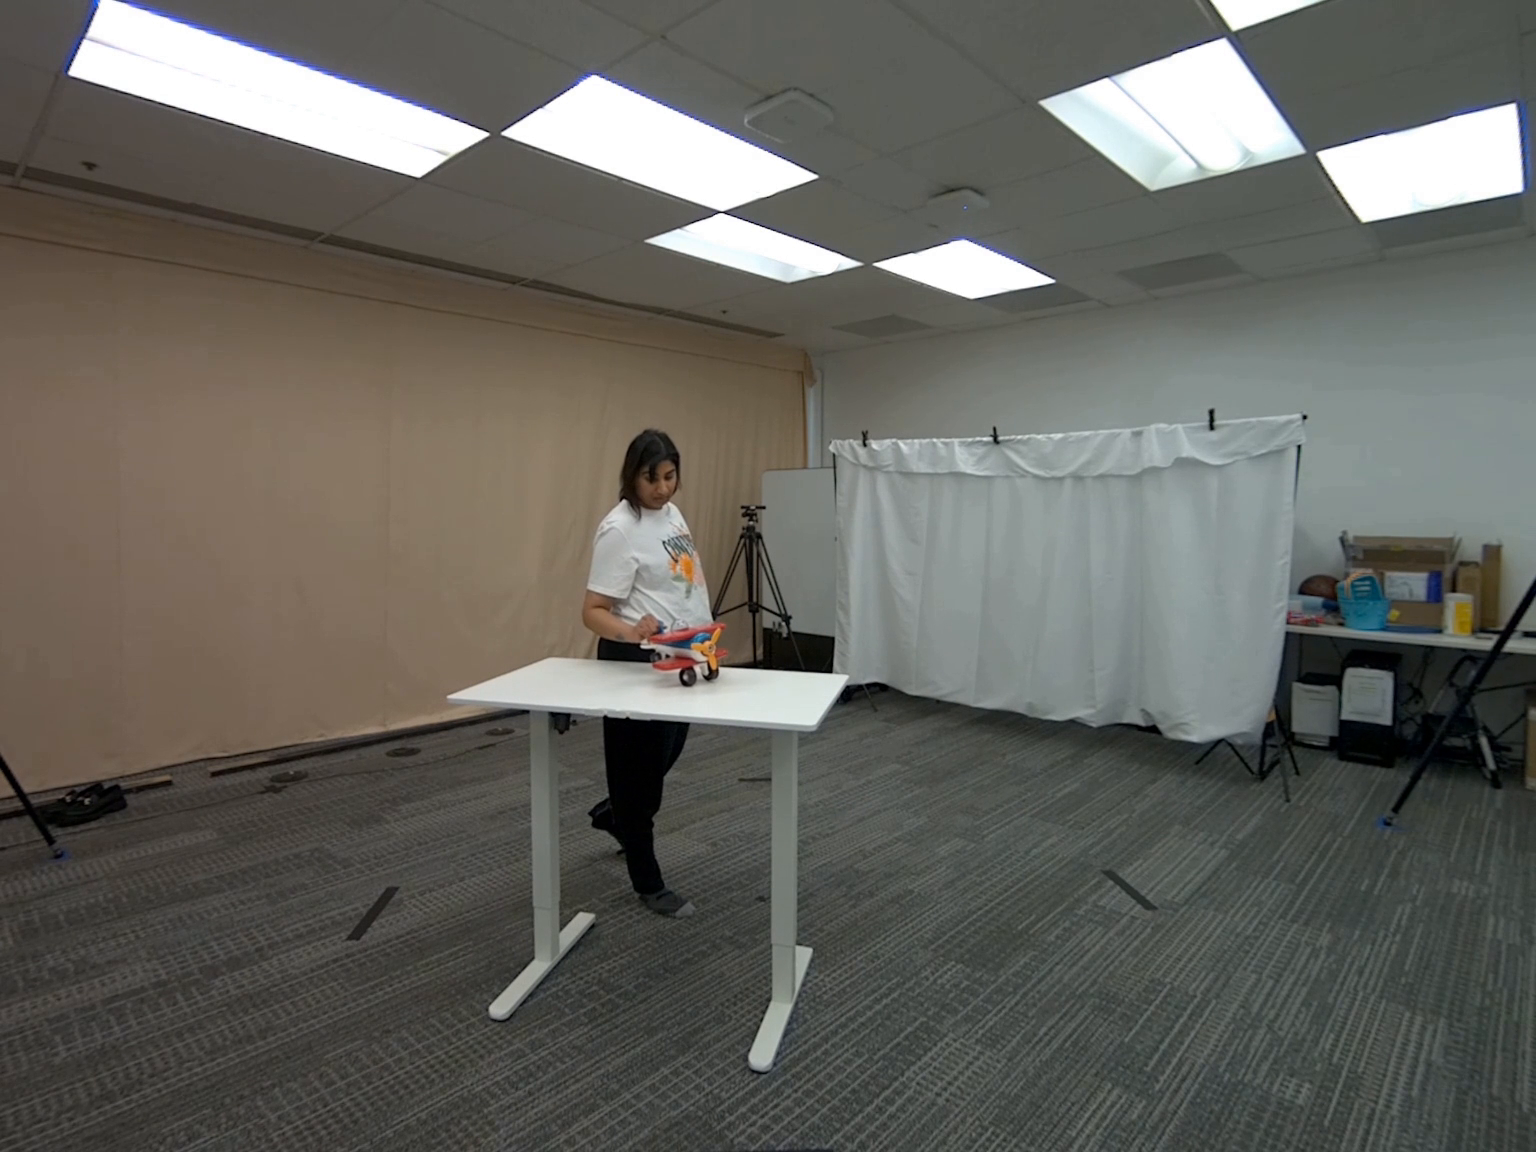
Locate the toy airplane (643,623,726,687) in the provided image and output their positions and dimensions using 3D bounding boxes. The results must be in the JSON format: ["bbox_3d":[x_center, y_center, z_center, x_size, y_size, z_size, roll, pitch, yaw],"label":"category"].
[{"bbox_3d":[-0.254,0.219,2.446,0.264,0.155,0.248,10,16,17],"label":"toy airplane"}]
